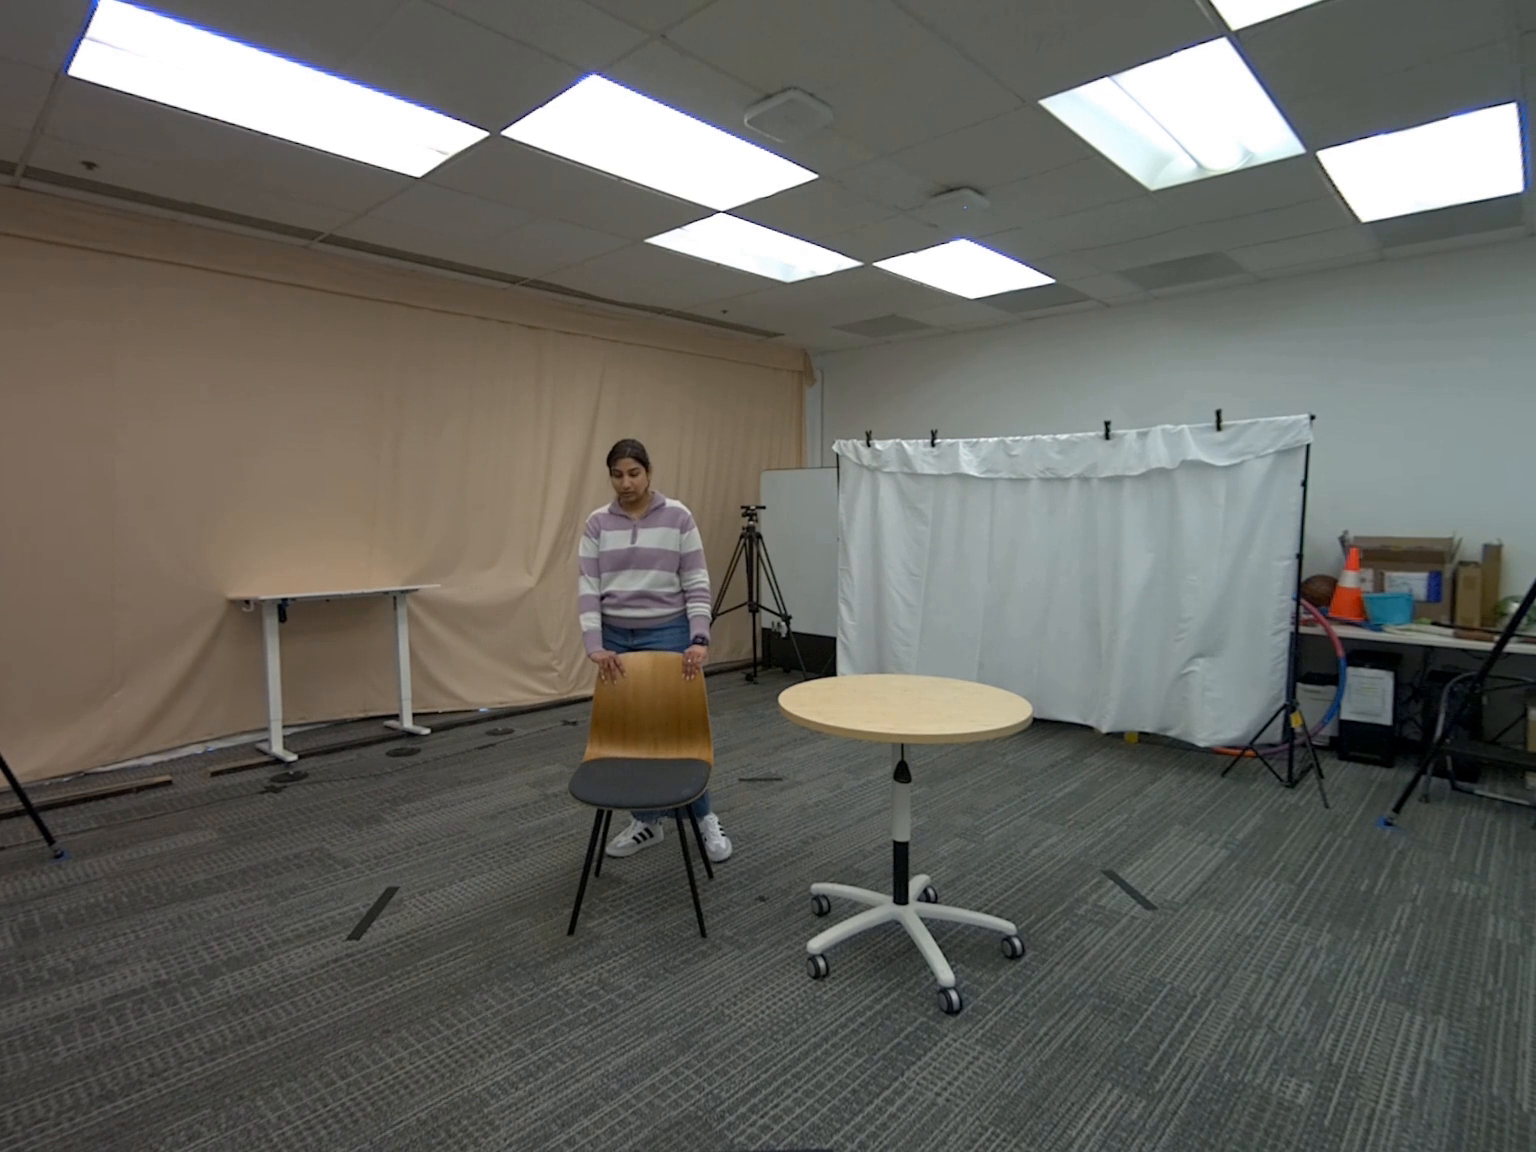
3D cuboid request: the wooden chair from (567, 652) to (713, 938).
[{"bbox_3d":[-0.421,0.725,2.910,0.480,0.878,0.521,-1,-1,2],"label":"wooden chair"}]
